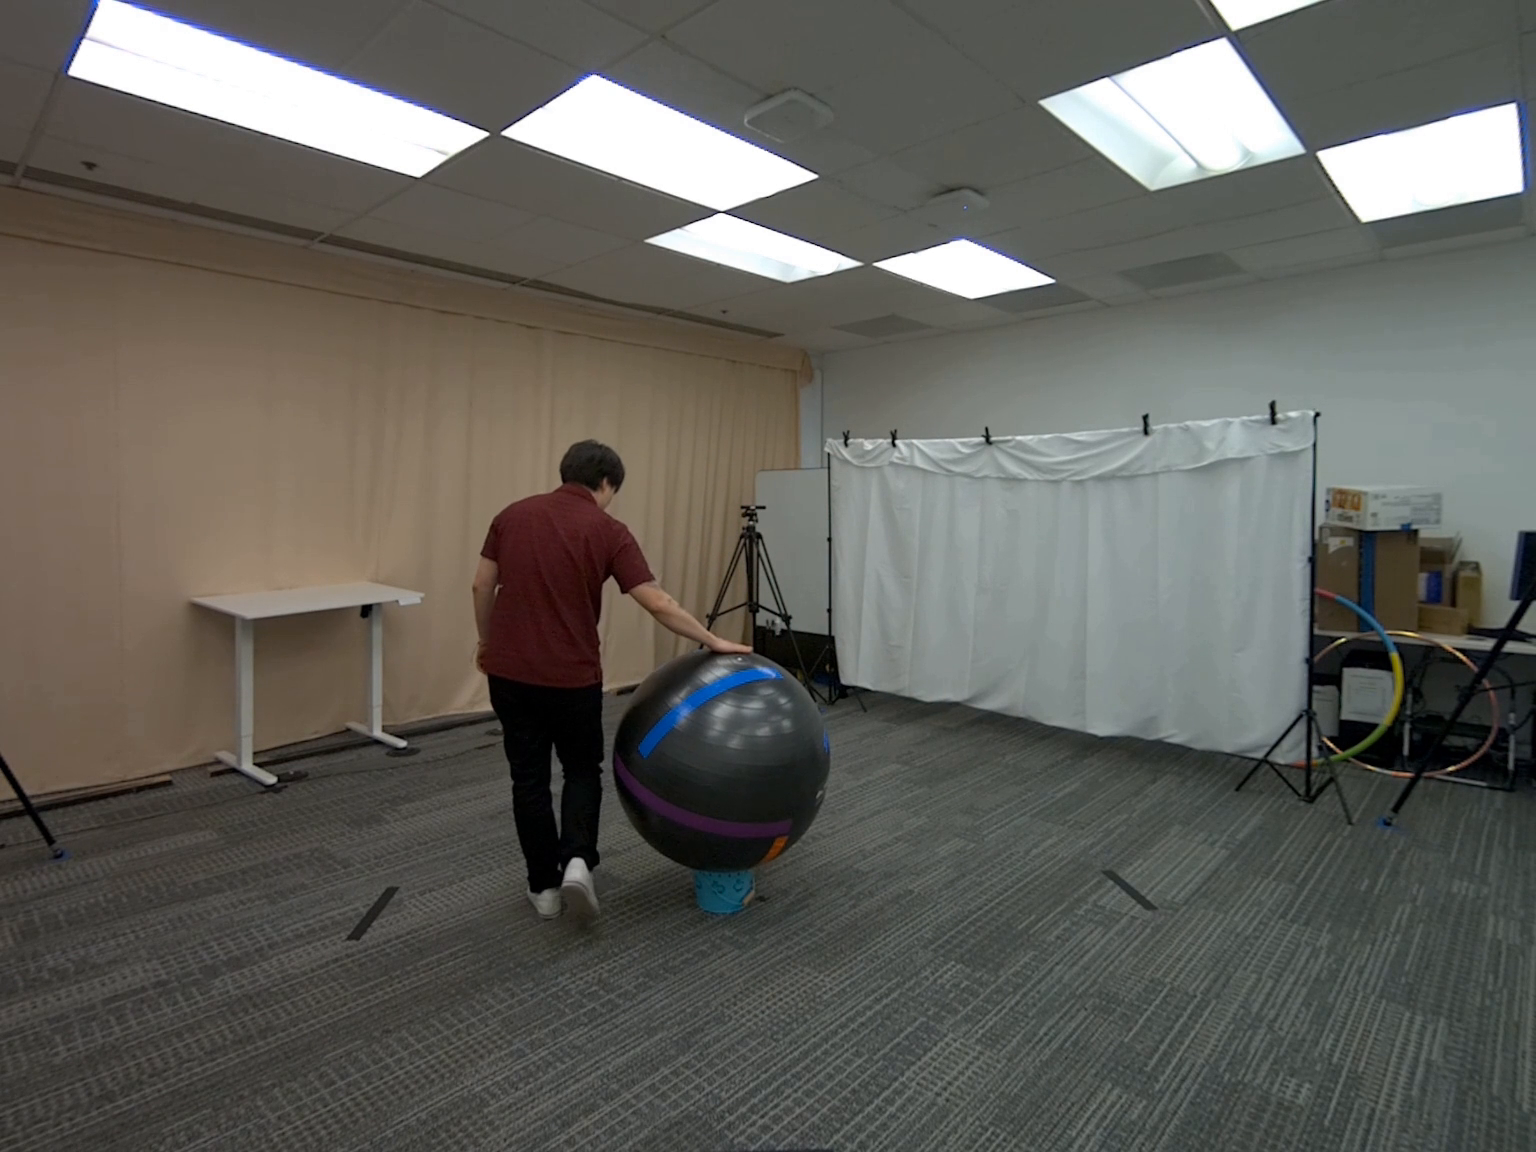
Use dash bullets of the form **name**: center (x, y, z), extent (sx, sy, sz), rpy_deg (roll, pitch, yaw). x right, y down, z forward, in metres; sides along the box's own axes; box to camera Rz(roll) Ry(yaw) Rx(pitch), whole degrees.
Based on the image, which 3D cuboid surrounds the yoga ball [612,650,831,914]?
- **yoga ball**: center (-0.155, 0.636, 2.946), extent (0.757, 0.756, 0.760), rpy_deg (0, 4, -2)
